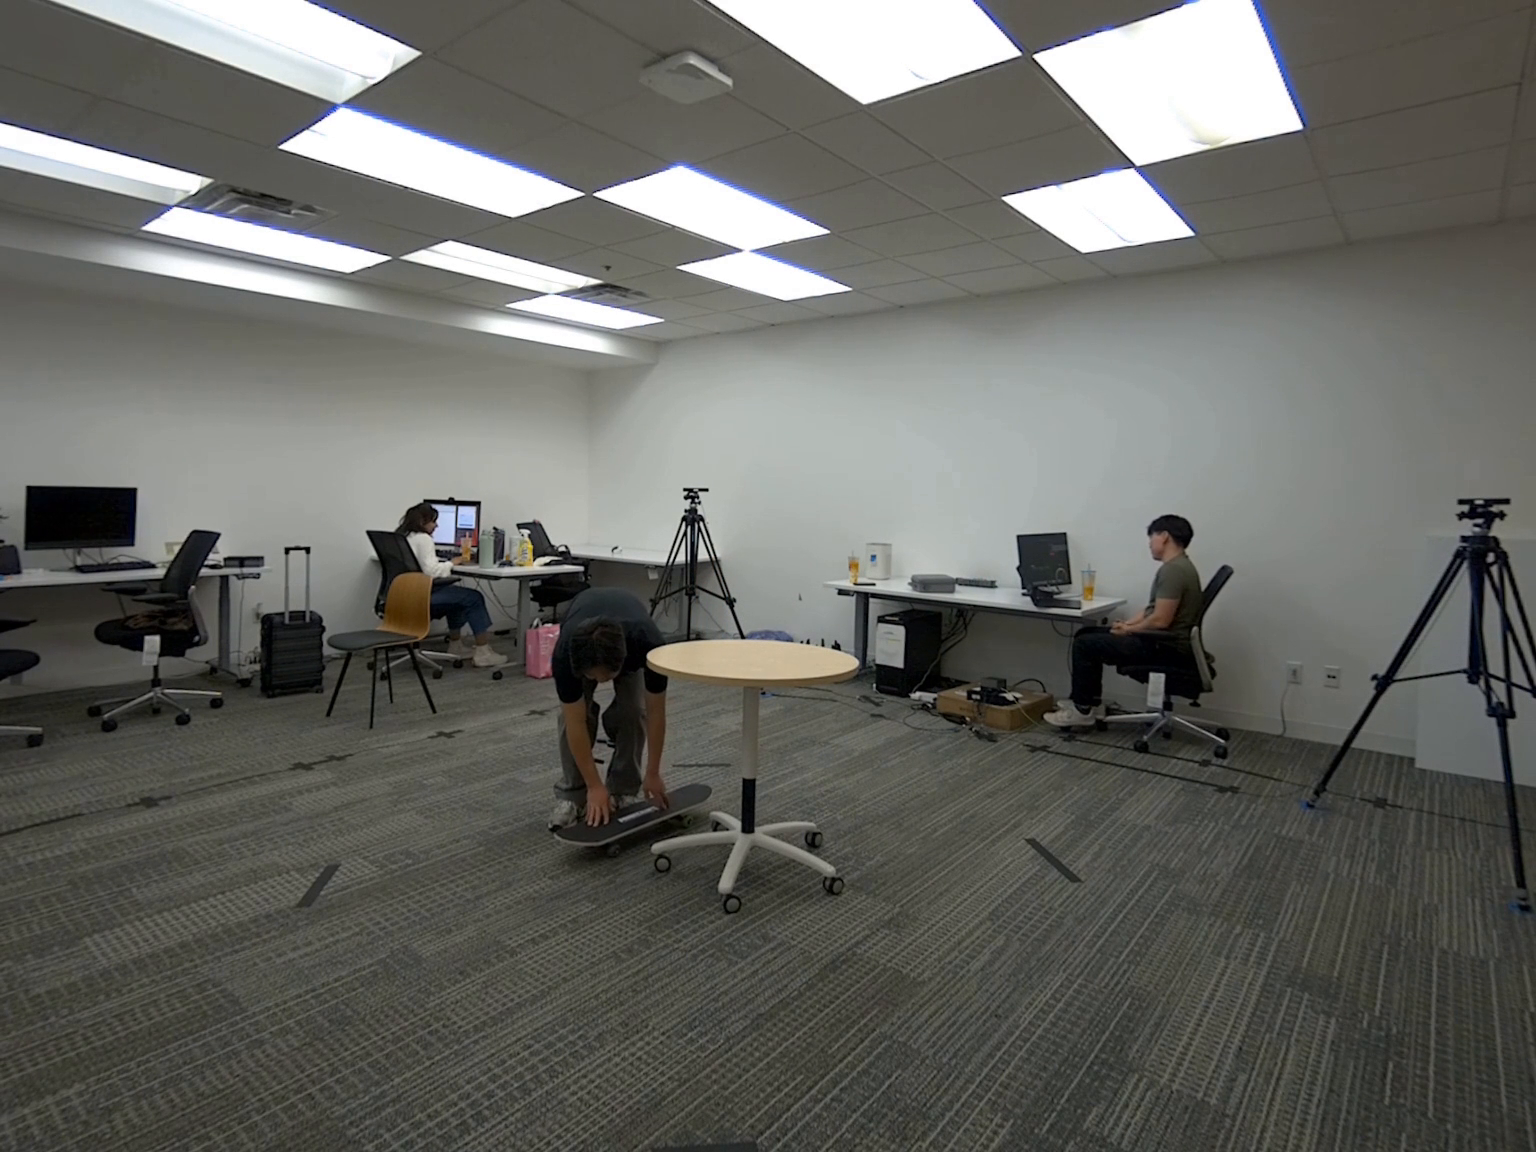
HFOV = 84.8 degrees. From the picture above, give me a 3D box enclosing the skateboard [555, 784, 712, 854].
[{"bbox_3d":[-0.527,0.980,3.392,0.200,0.110,0.762,6,7,41],"label":"skateboard"}]
